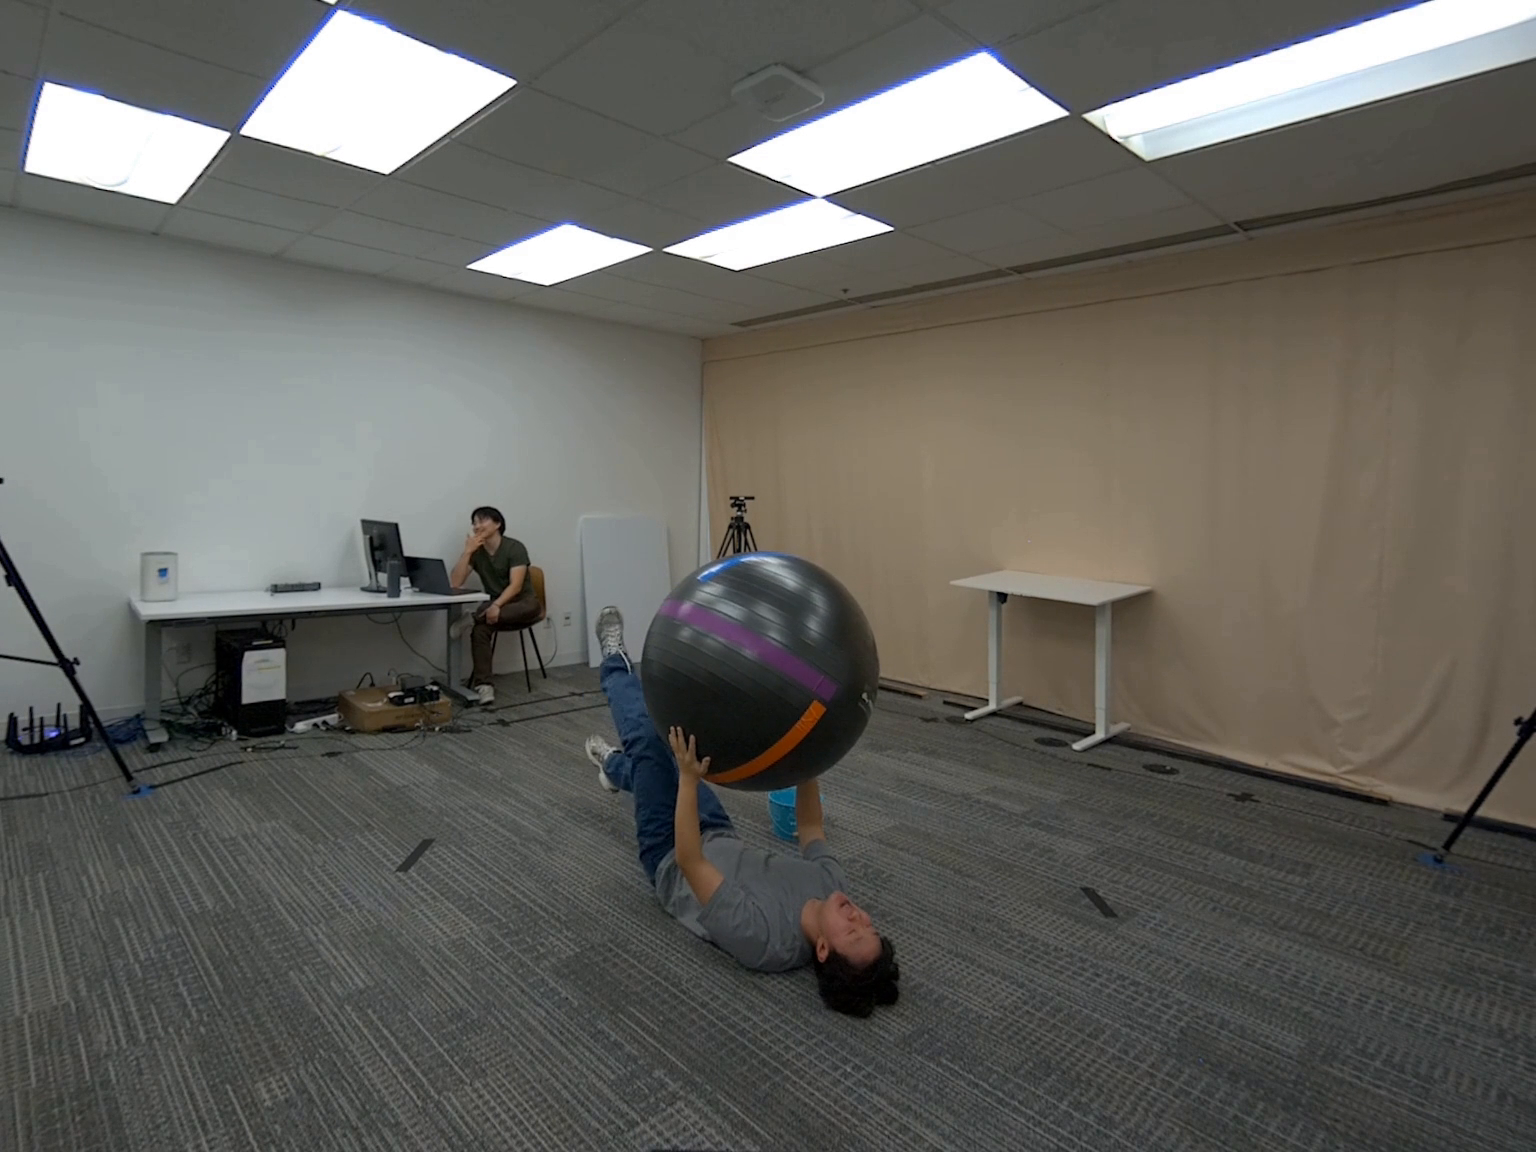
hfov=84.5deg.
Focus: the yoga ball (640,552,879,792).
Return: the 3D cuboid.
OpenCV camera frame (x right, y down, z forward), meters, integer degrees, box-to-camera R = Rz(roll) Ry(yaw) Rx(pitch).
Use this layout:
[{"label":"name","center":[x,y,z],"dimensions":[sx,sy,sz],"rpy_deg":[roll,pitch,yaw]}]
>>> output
[{"label":"yoga ball","center":[-0.025,0.307,2.710],"dimensions":[0.757,0.756,0.761],"rpy_deg":[1,4,-1]}]
